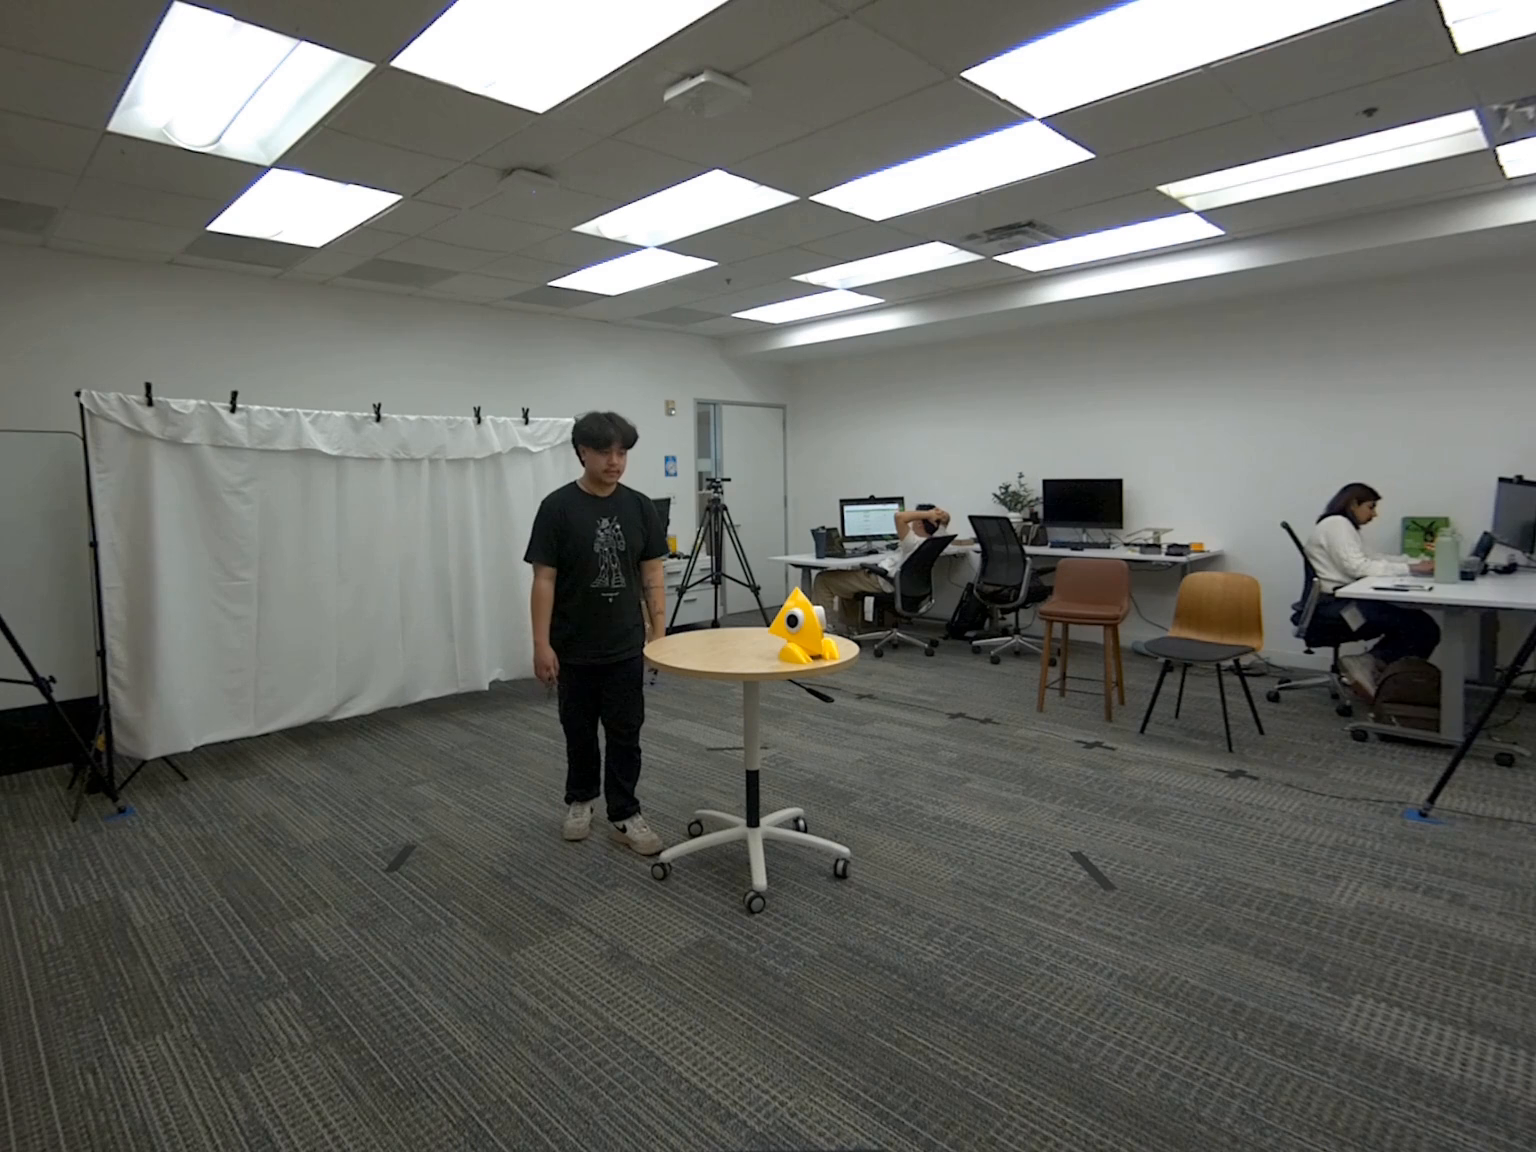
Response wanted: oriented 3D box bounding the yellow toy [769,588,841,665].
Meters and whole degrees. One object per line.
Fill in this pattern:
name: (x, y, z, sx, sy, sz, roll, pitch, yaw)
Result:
yellow toy: (0.135, 0.159, 2.880, 0.200, 0.230, 0.198, -3, 5, -30)
